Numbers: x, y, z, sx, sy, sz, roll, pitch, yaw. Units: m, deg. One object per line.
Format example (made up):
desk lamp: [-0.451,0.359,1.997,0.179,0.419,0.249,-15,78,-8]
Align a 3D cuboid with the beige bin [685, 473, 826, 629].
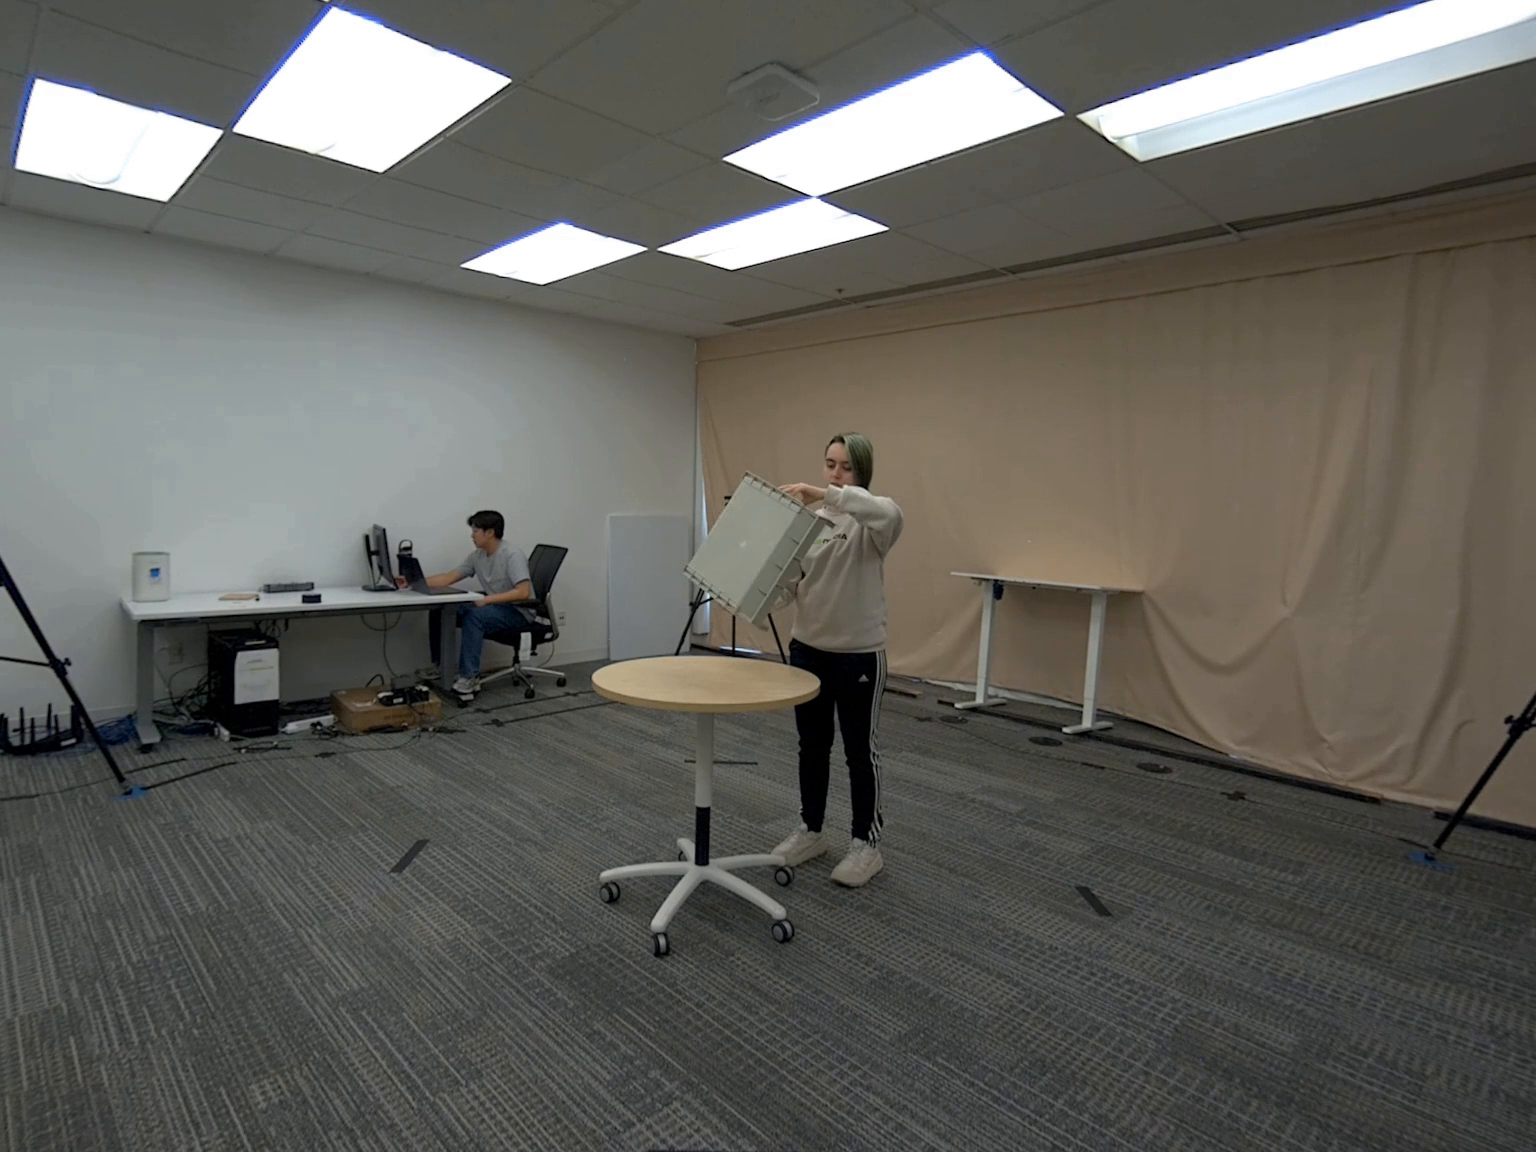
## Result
beige bin: [-0.032,-0.079,2.813,0.183,0.422,0.389,29,5,-46]
